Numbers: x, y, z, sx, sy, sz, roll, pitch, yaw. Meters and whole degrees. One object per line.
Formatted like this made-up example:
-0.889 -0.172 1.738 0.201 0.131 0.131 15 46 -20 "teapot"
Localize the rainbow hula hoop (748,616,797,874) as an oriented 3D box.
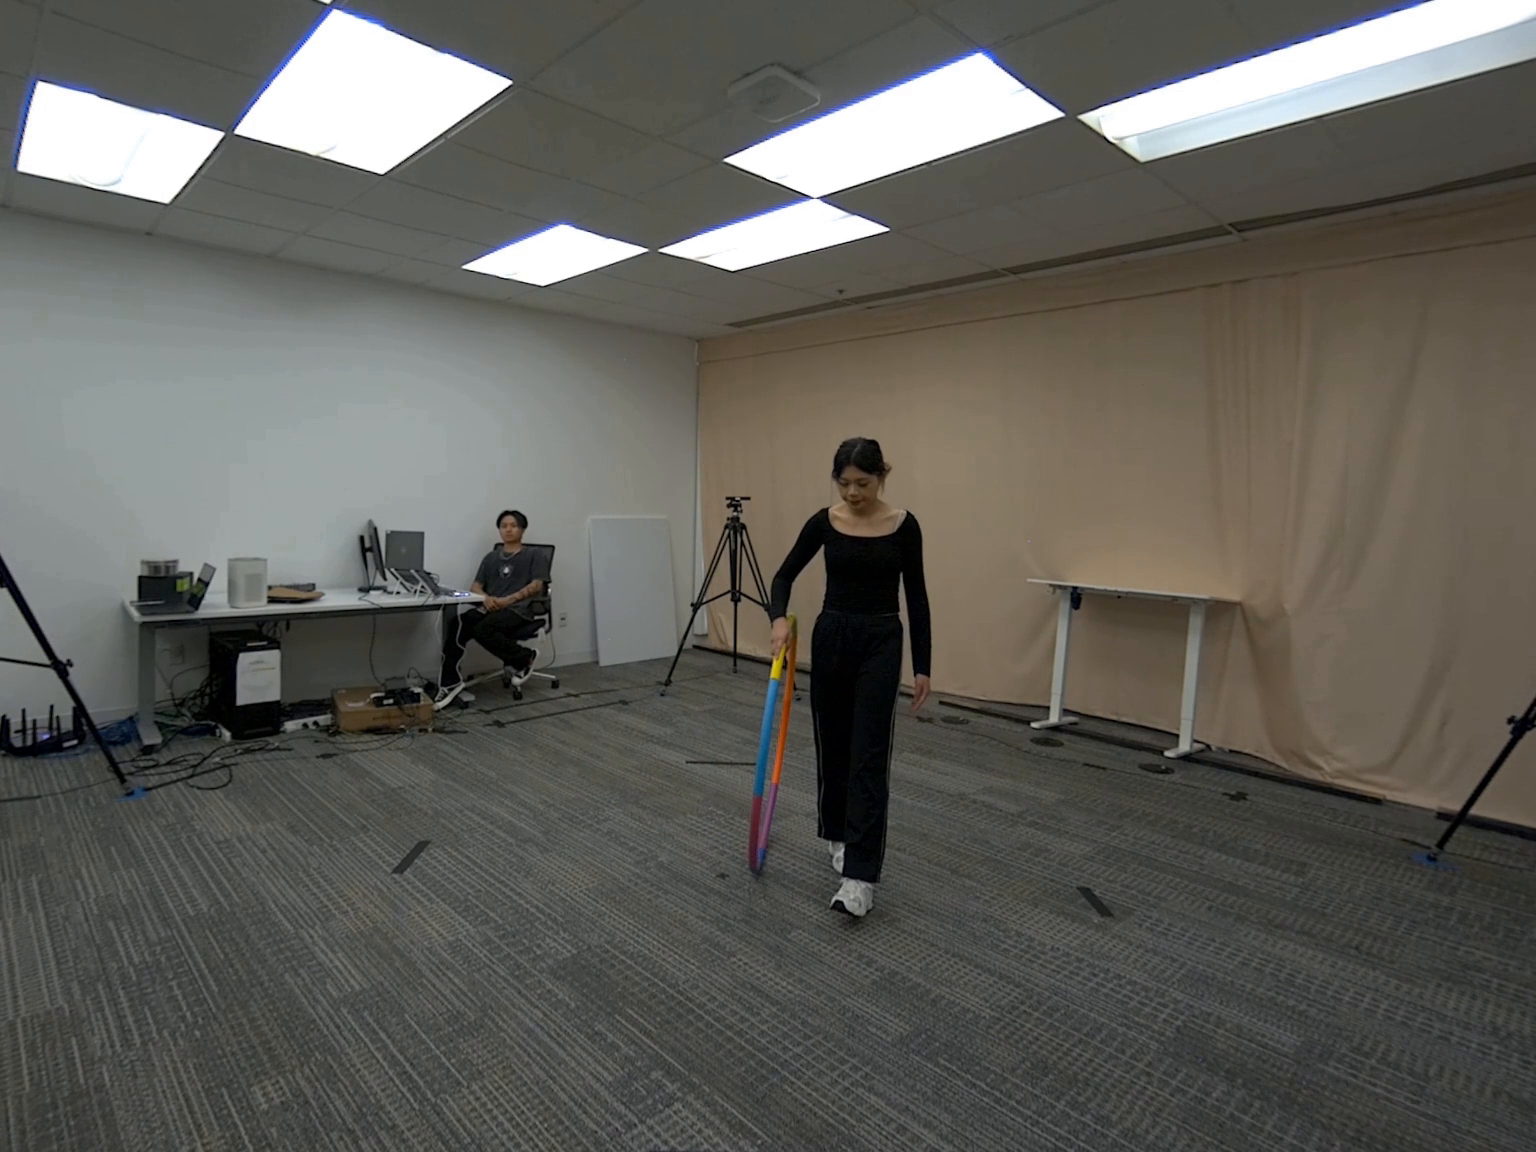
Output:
0.019 0.628 3.209 0.036 0.976 0.976 6 5 5 "rainbow hula hoop"
